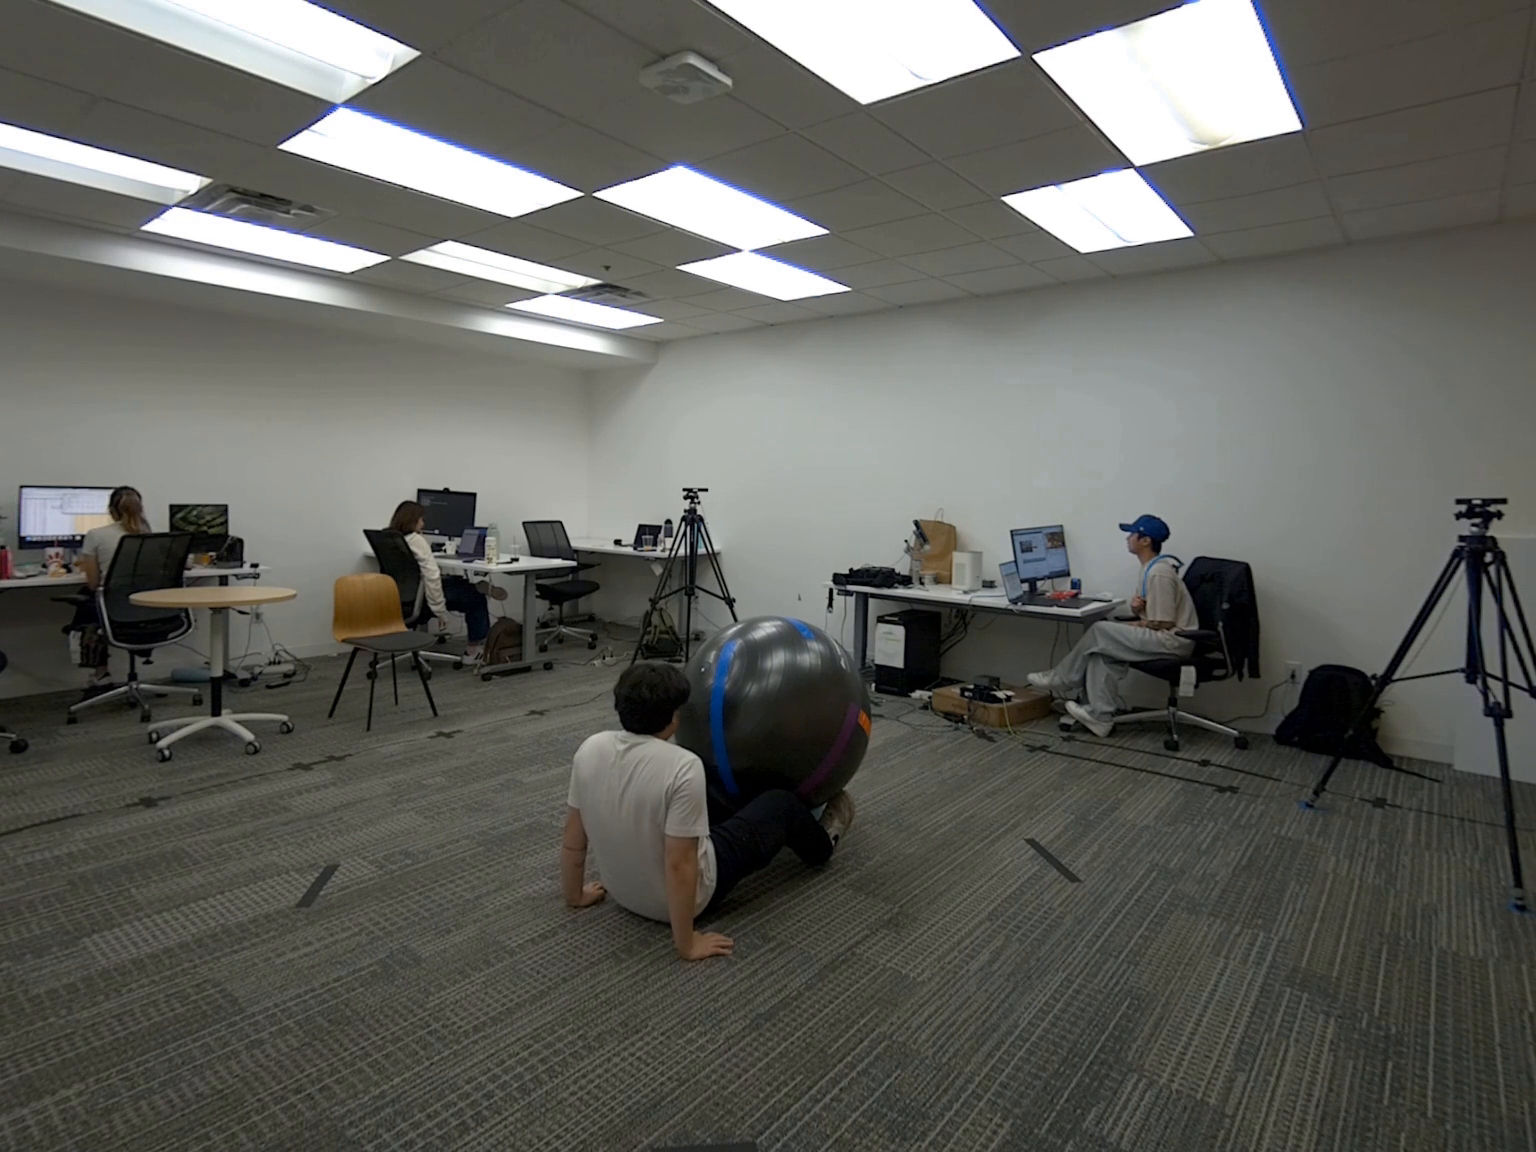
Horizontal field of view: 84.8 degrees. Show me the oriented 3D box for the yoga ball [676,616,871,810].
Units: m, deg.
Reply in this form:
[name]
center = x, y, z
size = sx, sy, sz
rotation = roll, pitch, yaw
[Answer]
[yoga ball]
center = 0.006, 0.529, 3.261
size = 0.757, 0.755, 0.762
rotation = 1, 4, -2
